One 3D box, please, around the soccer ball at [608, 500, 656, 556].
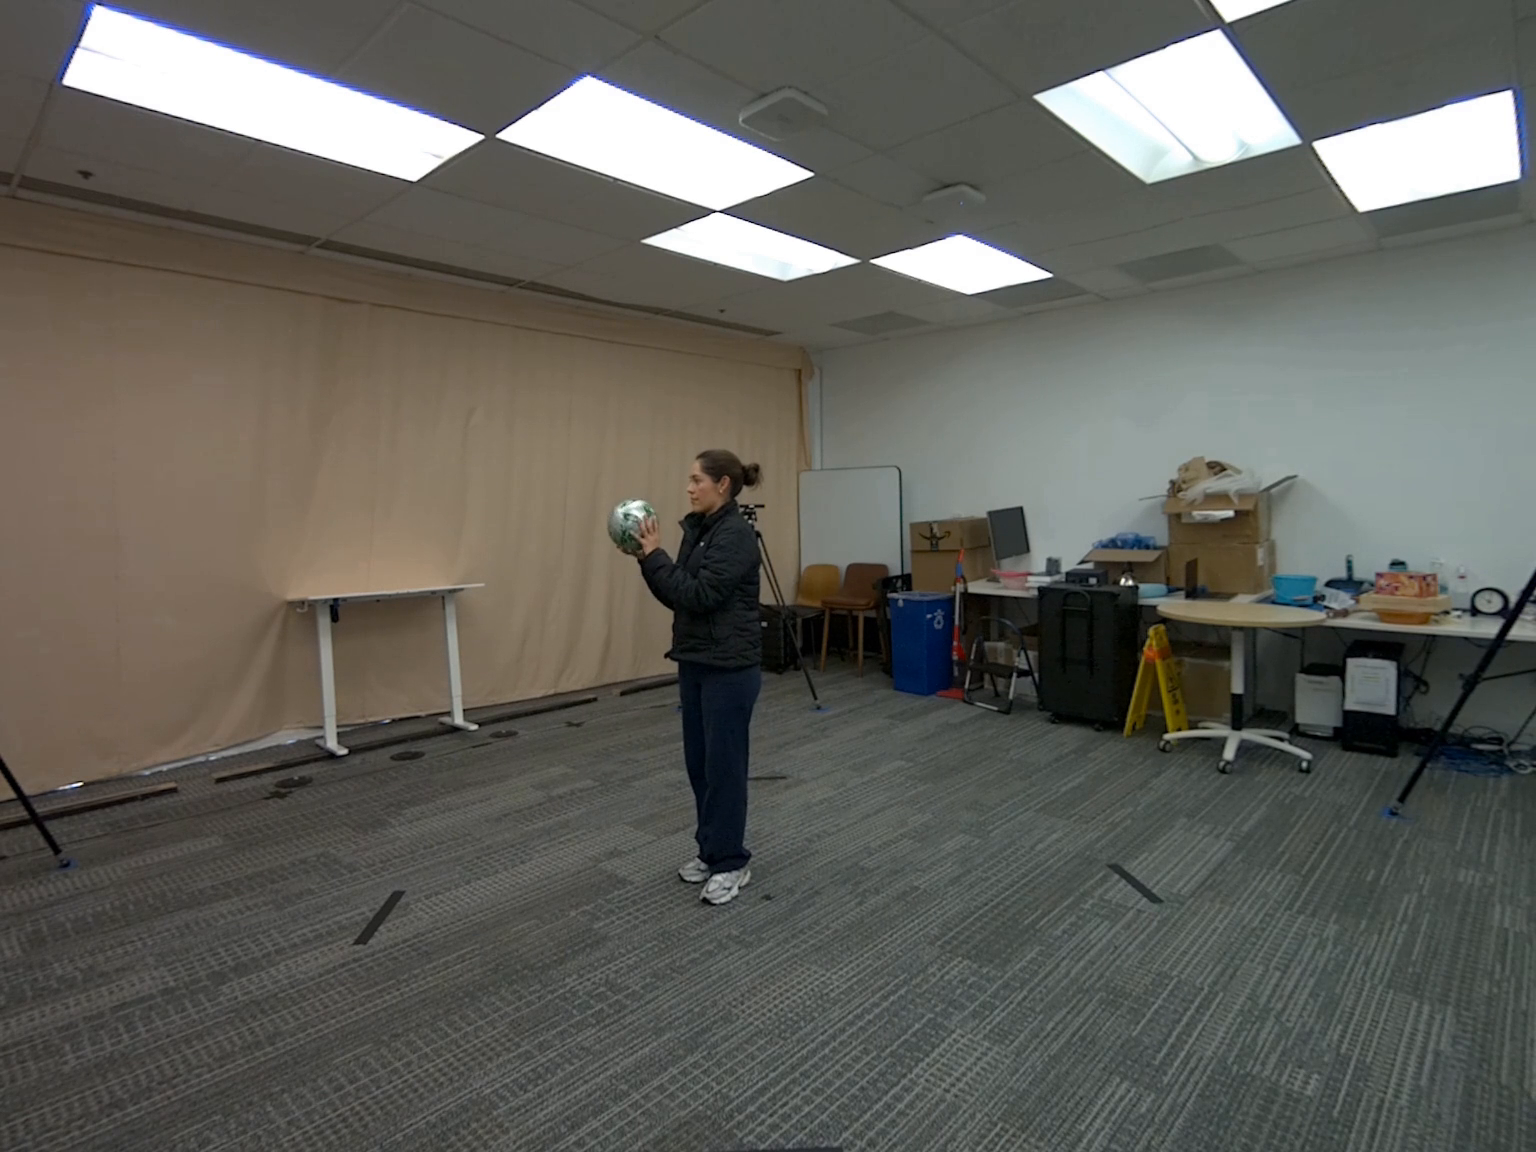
[{"bbox_3d":[-0.479,-0.186,3.016,0.187,0.187,0.188,-1,4,-2],"label":"soccer ball"}]
